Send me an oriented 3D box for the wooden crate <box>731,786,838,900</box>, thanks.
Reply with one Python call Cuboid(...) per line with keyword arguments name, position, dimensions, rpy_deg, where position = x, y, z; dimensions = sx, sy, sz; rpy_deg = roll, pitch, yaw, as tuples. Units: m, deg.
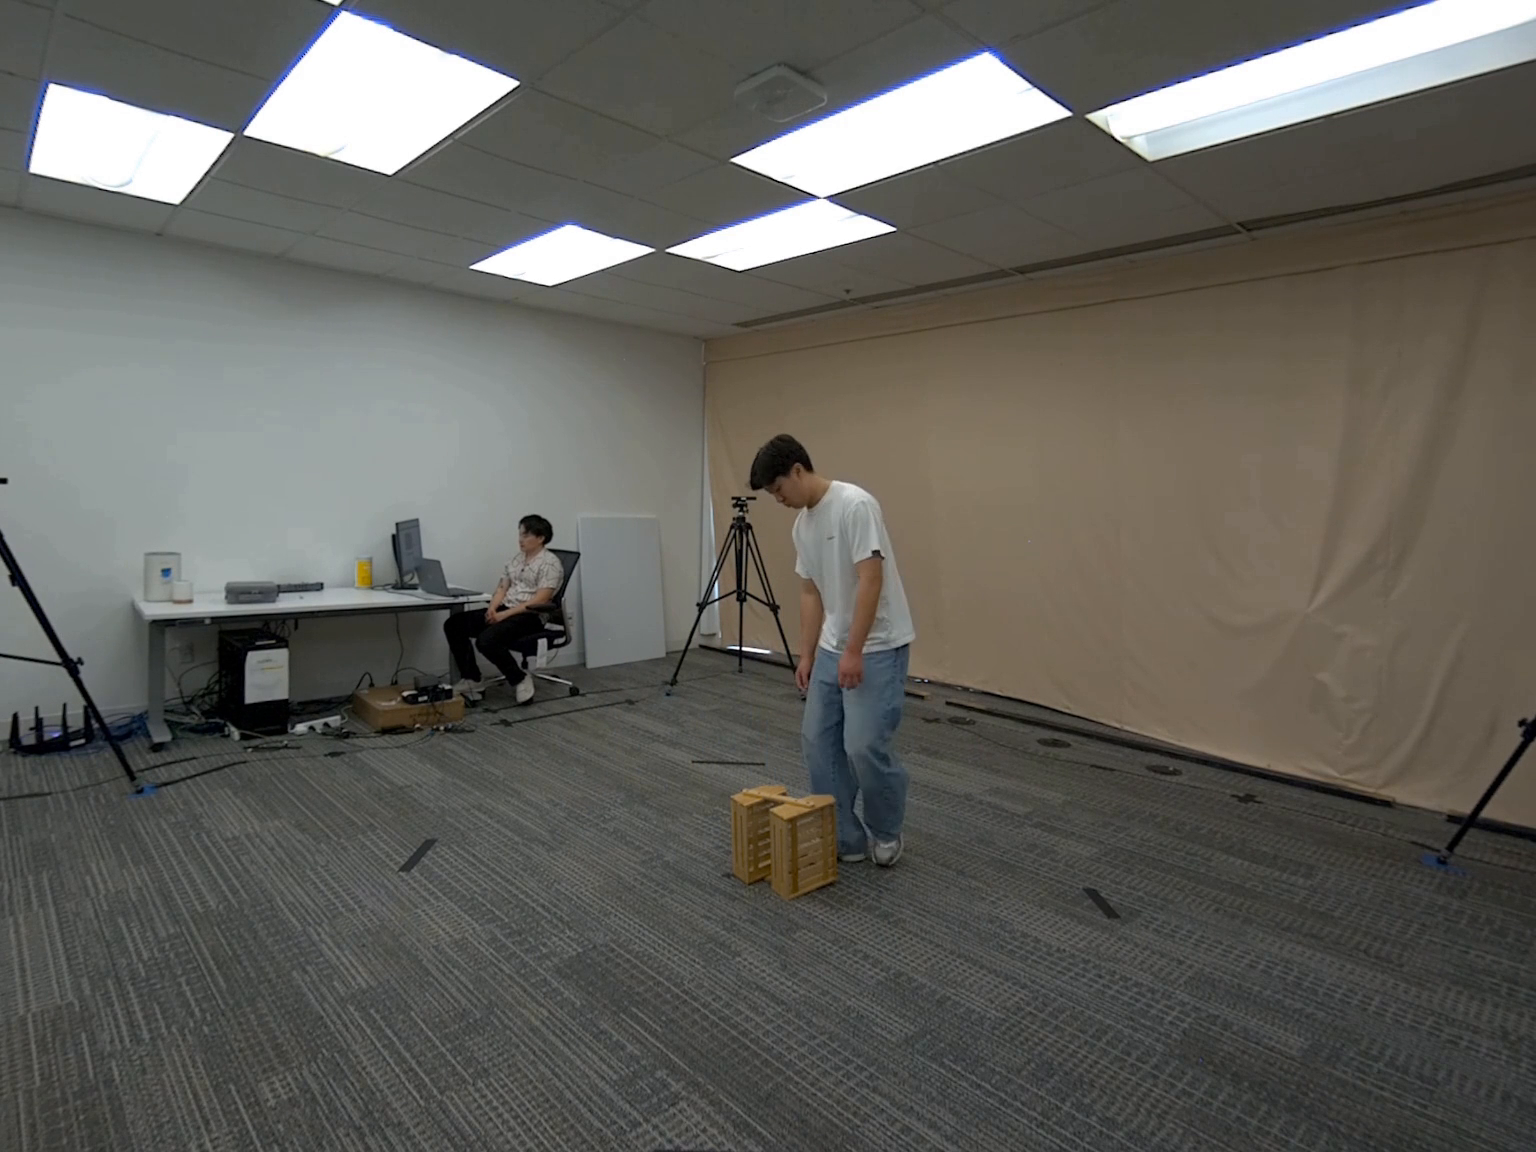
Cuboid(name="wooden crate", position=(0.053, 0.948, 3.060), dimensions=(0.296, 0.322, 0.281), rpy_deg=(-8, 12, -36))
